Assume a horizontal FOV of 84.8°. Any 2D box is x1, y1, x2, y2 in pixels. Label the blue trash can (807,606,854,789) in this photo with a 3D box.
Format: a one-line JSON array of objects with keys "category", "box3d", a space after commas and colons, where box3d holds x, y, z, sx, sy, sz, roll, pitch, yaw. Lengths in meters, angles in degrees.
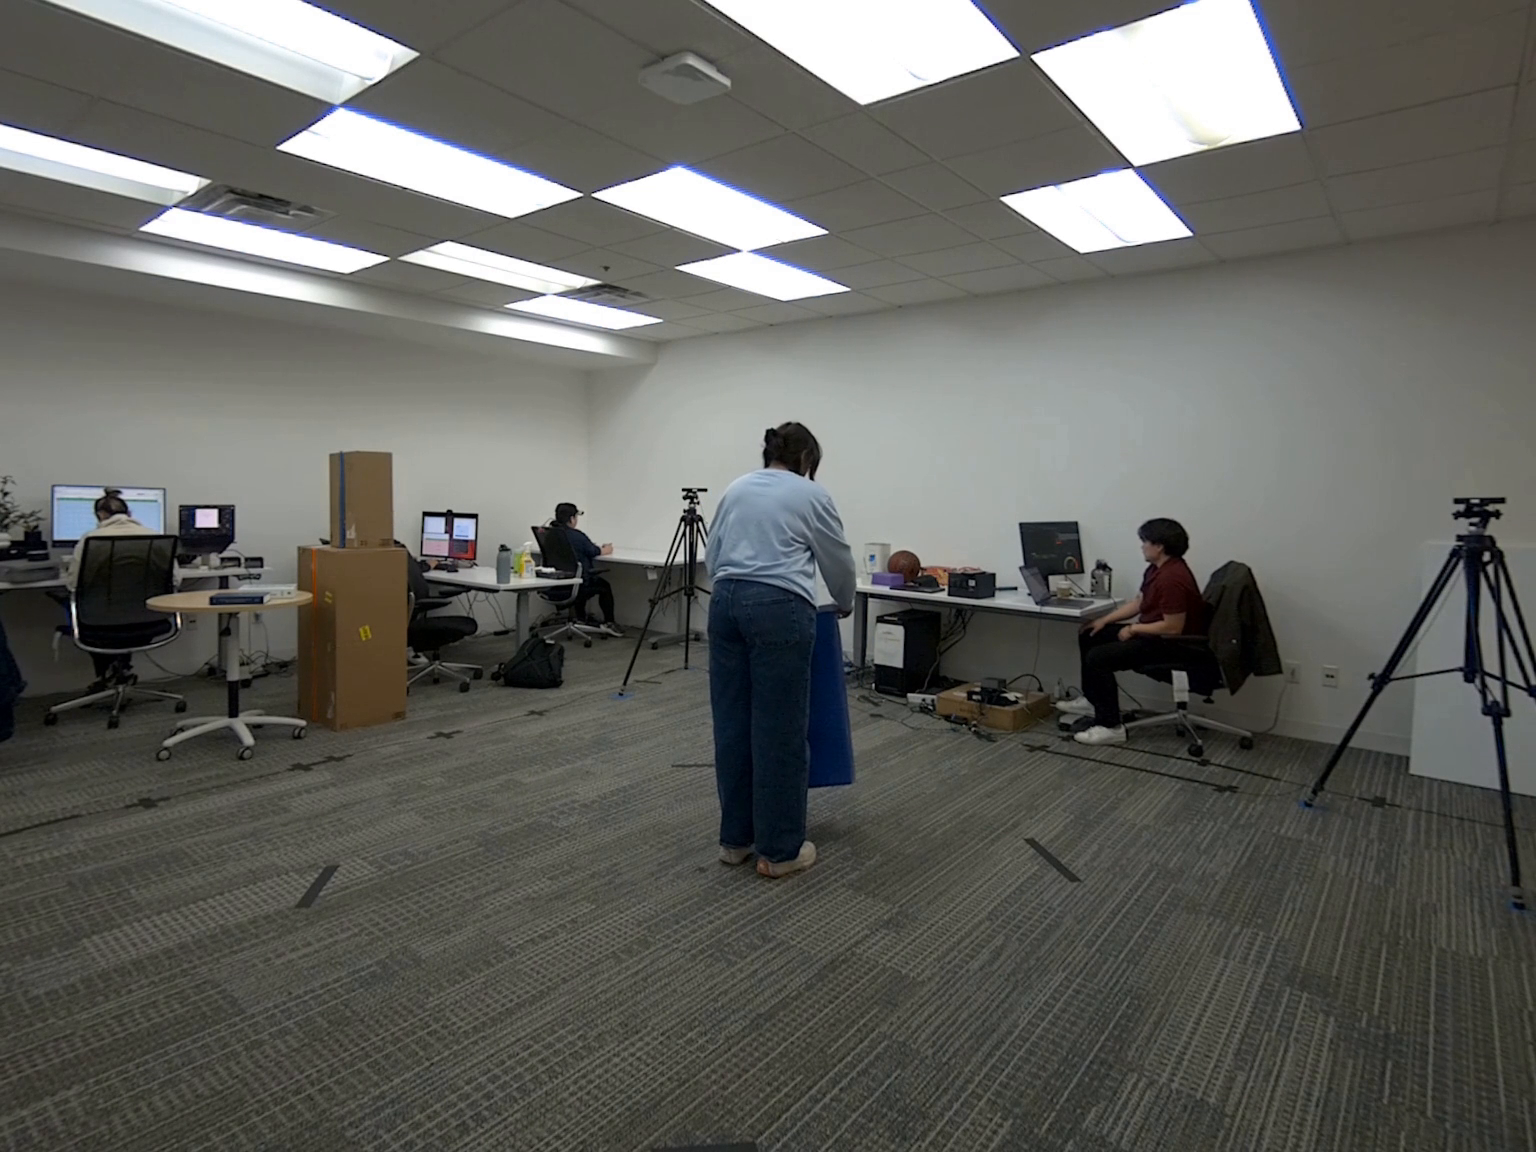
[{"category": "blue trash can", "box3d": [0.158, 0.509, 3.561, 0.381, 0.724, 0.366, -9, -13, 7]}]
